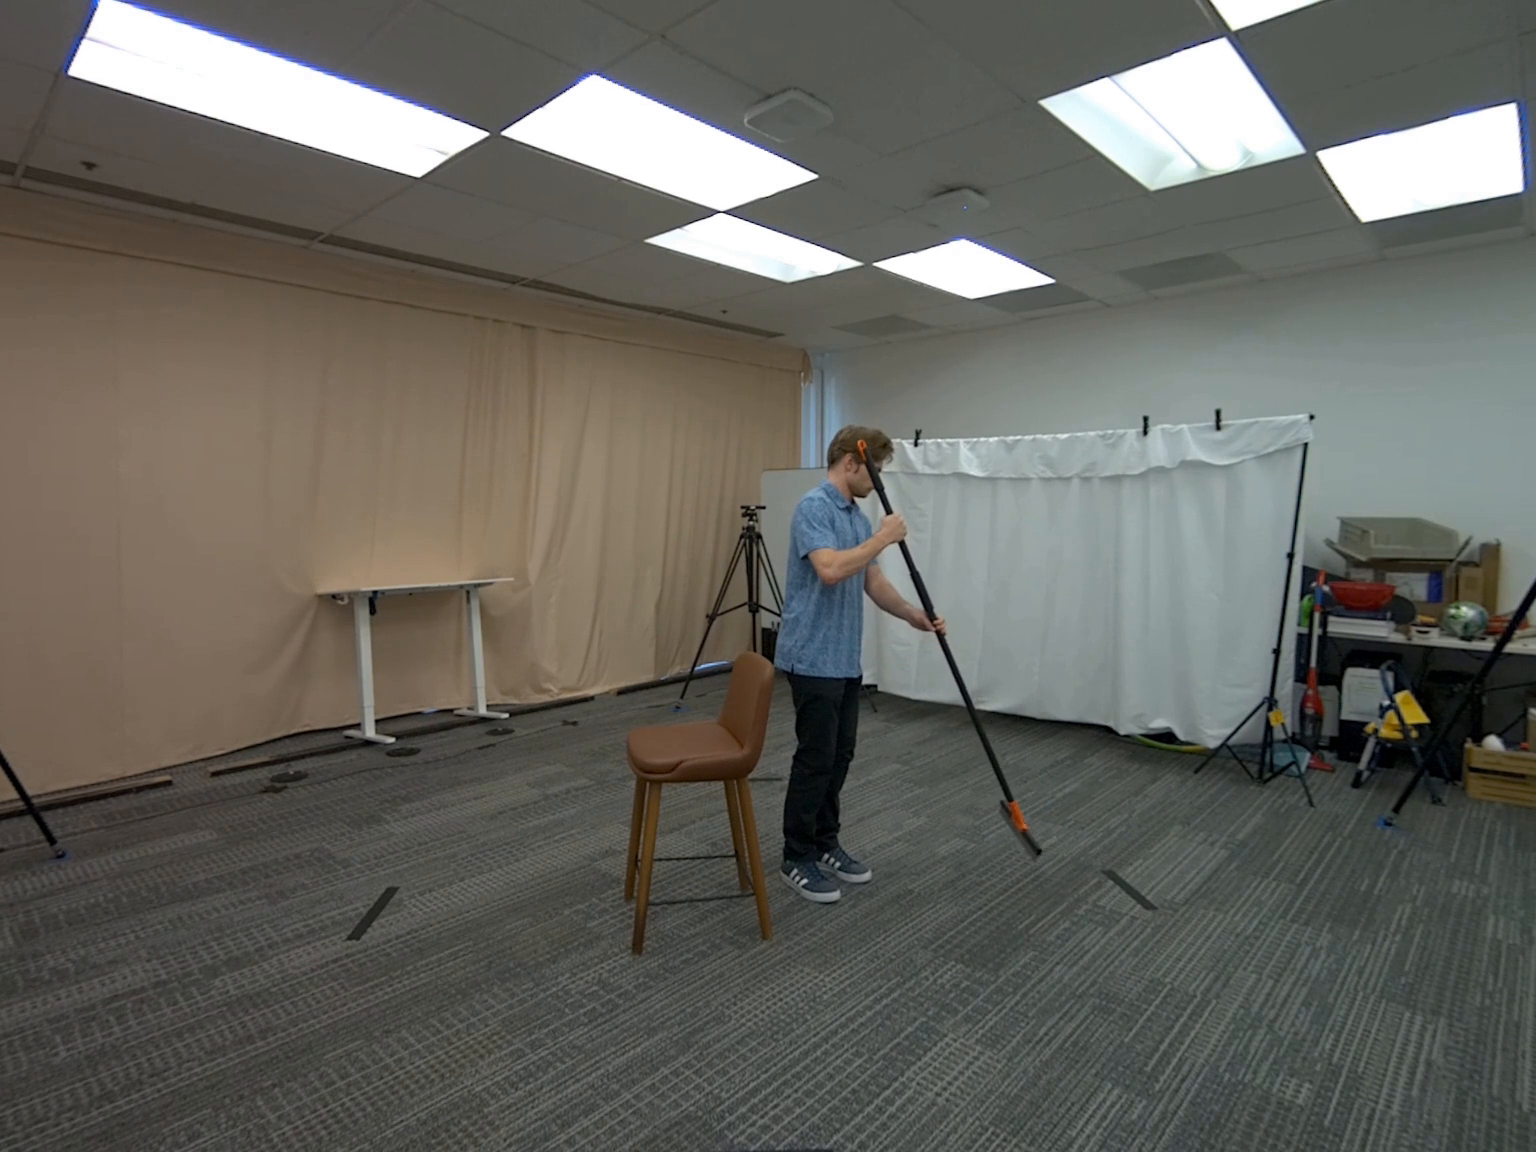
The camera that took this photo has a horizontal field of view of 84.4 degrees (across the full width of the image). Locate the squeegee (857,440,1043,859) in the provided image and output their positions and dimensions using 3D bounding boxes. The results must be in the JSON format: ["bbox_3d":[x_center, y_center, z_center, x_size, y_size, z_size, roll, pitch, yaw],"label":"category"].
[{"bbox_3d":[0.656,0.263,3.014,0.053,1.527,0.439,-22,7,3],"label":"squeegee"}]
